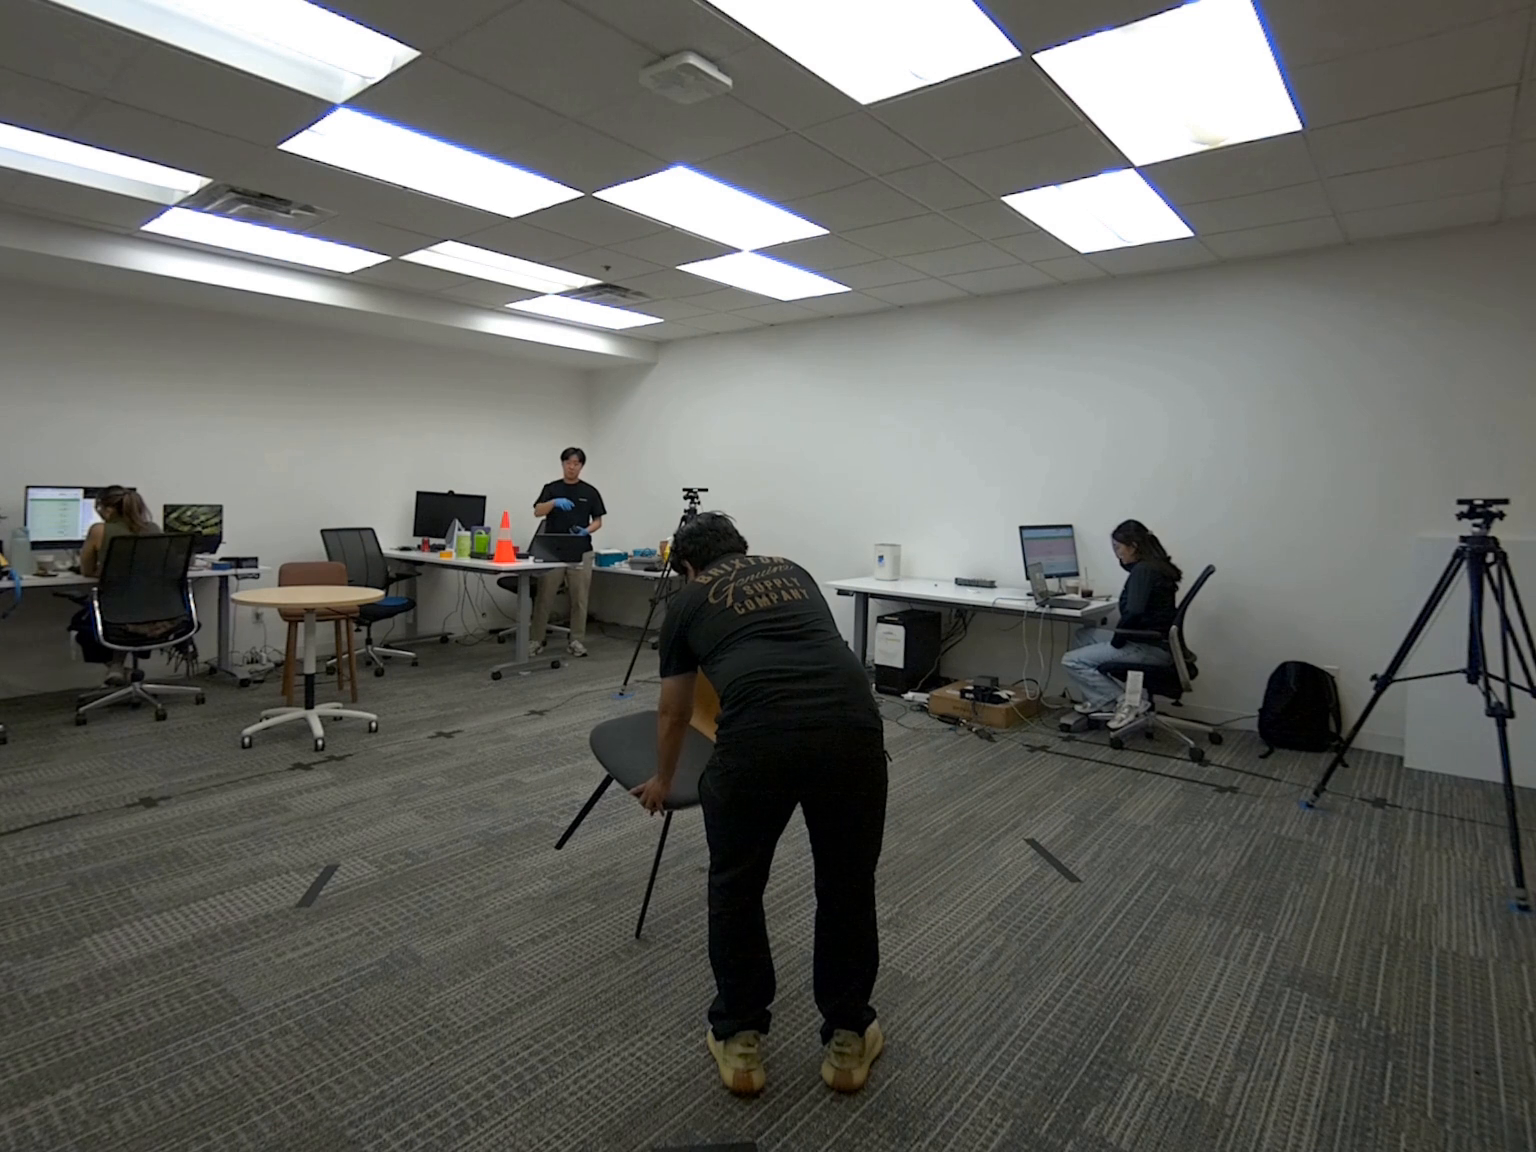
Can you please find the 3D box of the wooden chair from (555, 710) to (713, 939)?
[{"bbox_3d":[-0.314,0.620,2.788,0.498,0.871,0.506,30,16,36],"label":"wooden chair"}]
